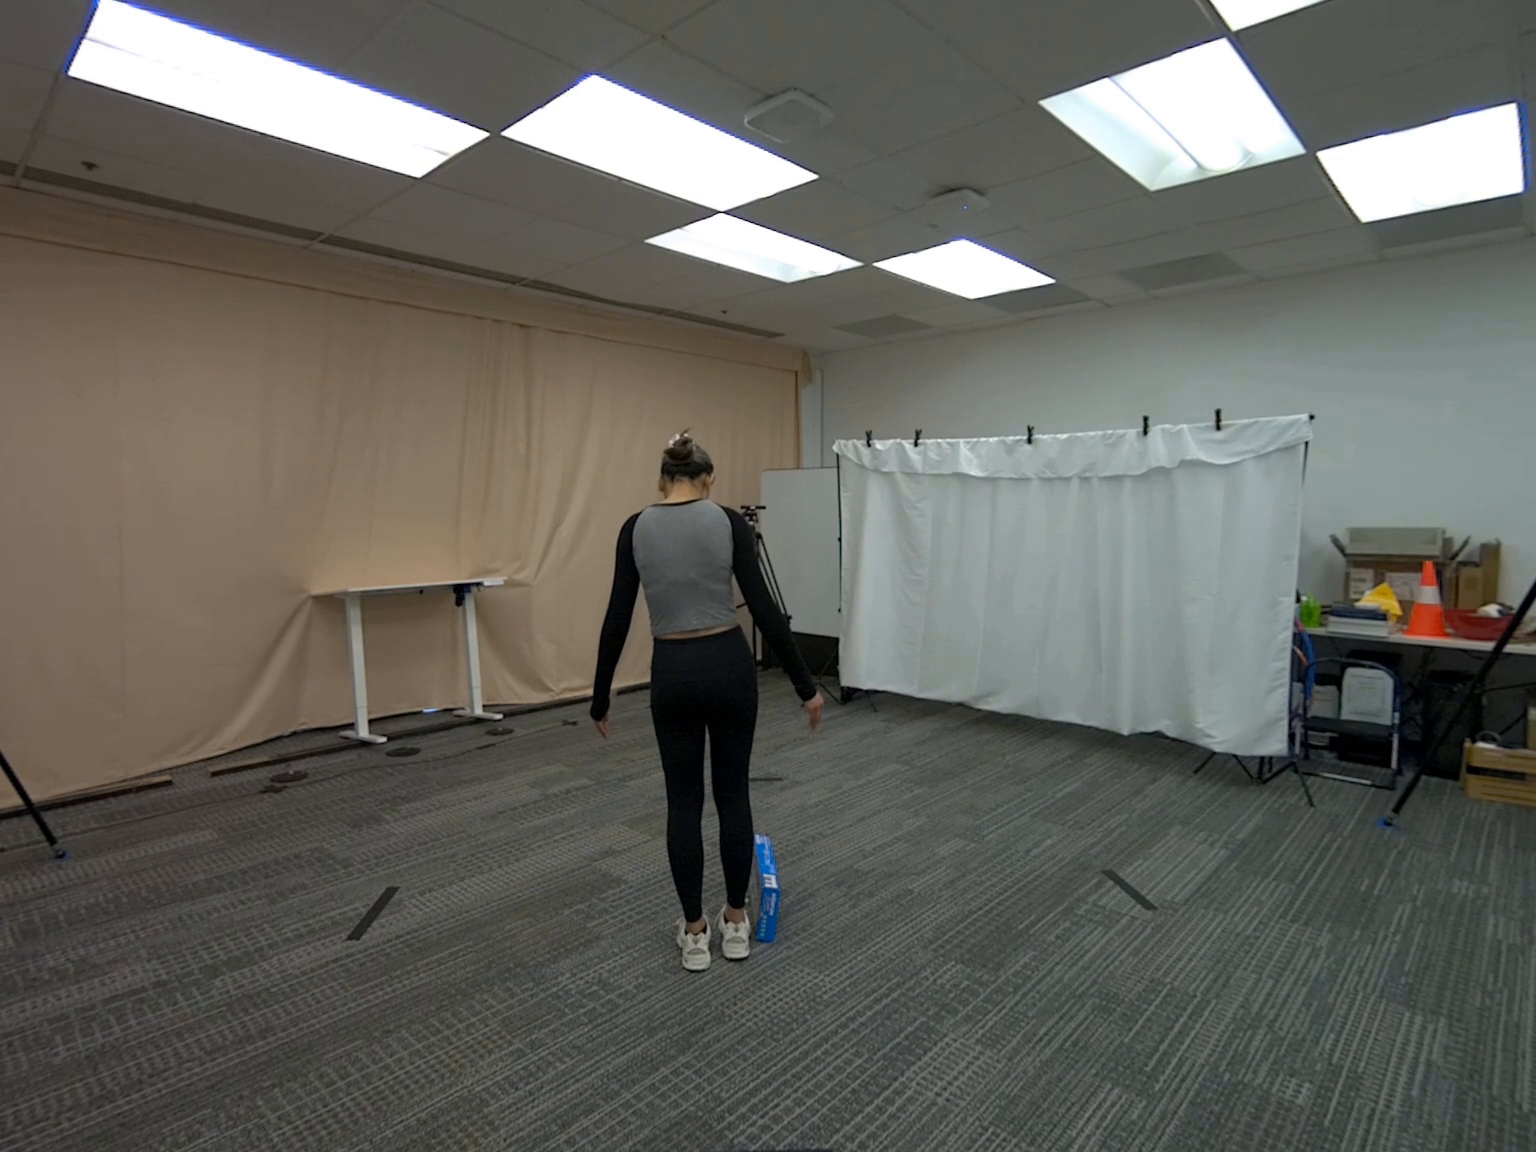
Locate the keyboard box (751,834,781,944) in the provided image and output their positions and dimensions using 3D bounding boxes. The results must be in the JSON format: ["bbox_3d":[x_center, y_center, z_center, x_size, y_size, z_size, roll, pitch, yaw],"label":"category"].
[{"bbox_3d":[-0.015,1.059,2.899,0.059,0.175,0.439,5,4,-5],"label":"keyboard box"}]
